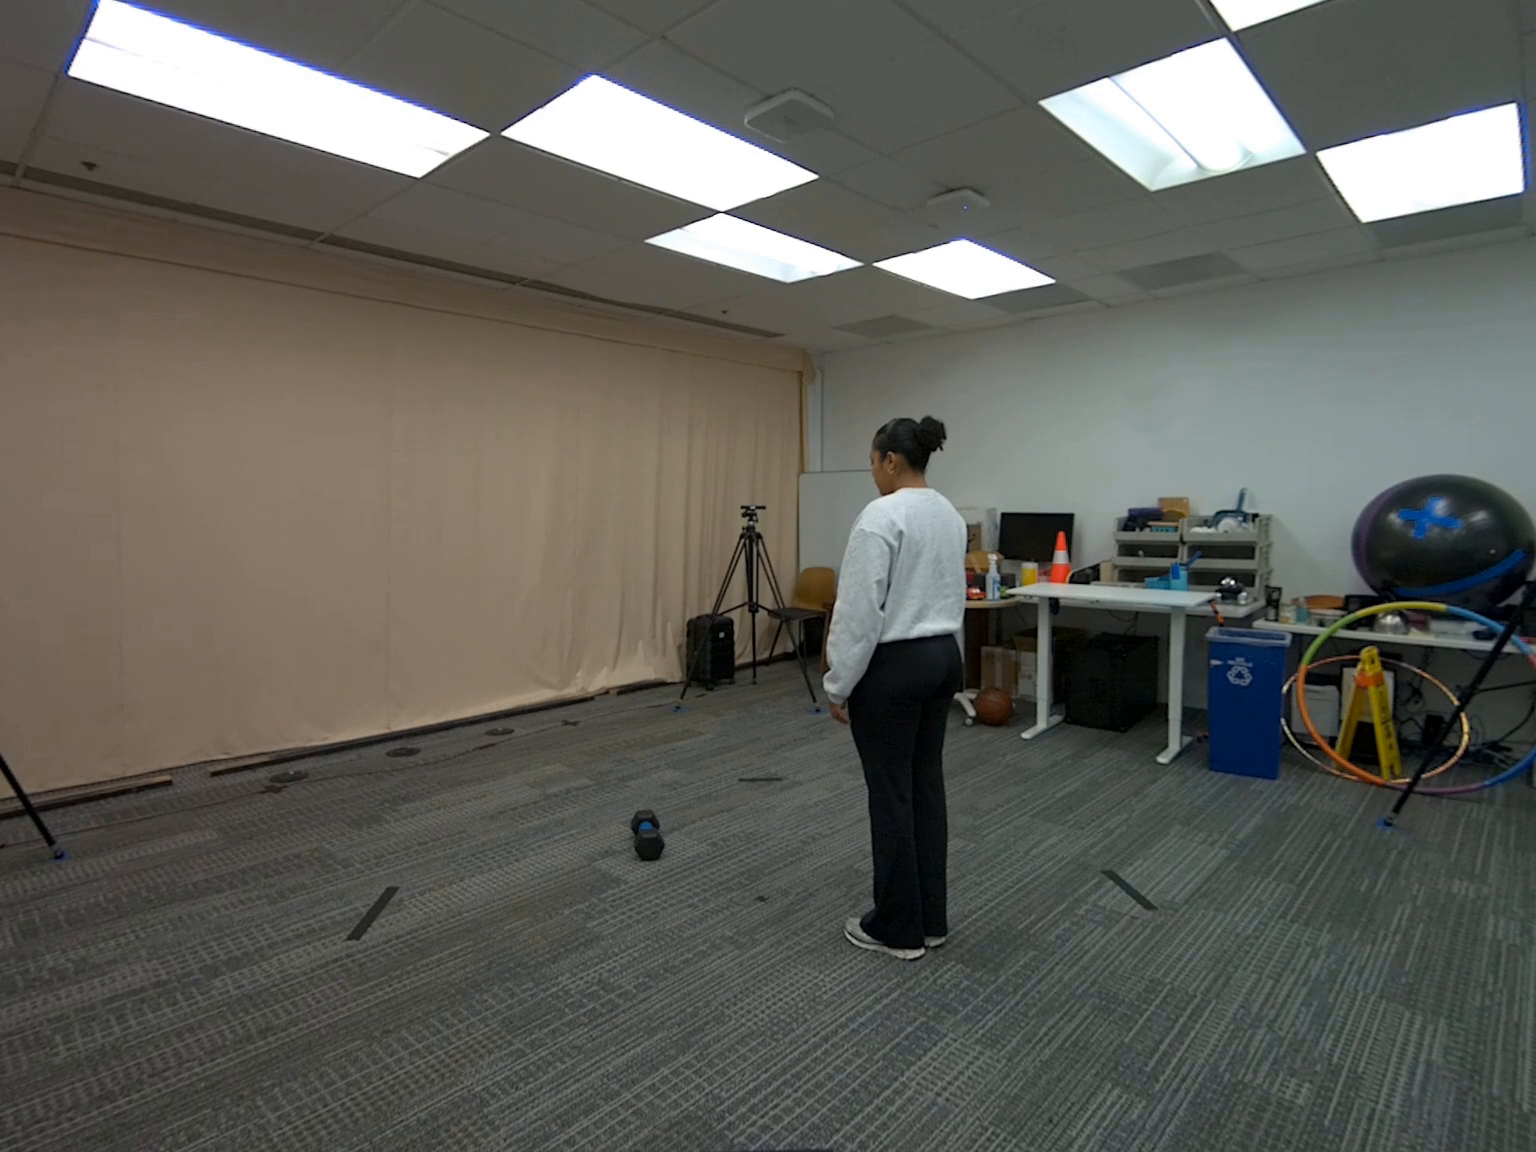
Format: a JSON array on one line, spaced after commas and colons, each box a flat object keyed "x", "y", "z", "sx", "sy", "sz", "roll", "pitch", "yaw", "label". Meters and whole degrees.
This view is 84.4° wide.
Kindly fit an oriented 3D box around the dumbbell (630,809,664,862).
[{"x": -0.491, "y": 1.057, "z": 3.440, "sx": 0.108, "sy": 0.122, "sz": 0.298, "roll": -30, "pitch": 10, "yaw": -8, "label": "dumbbell"}]
